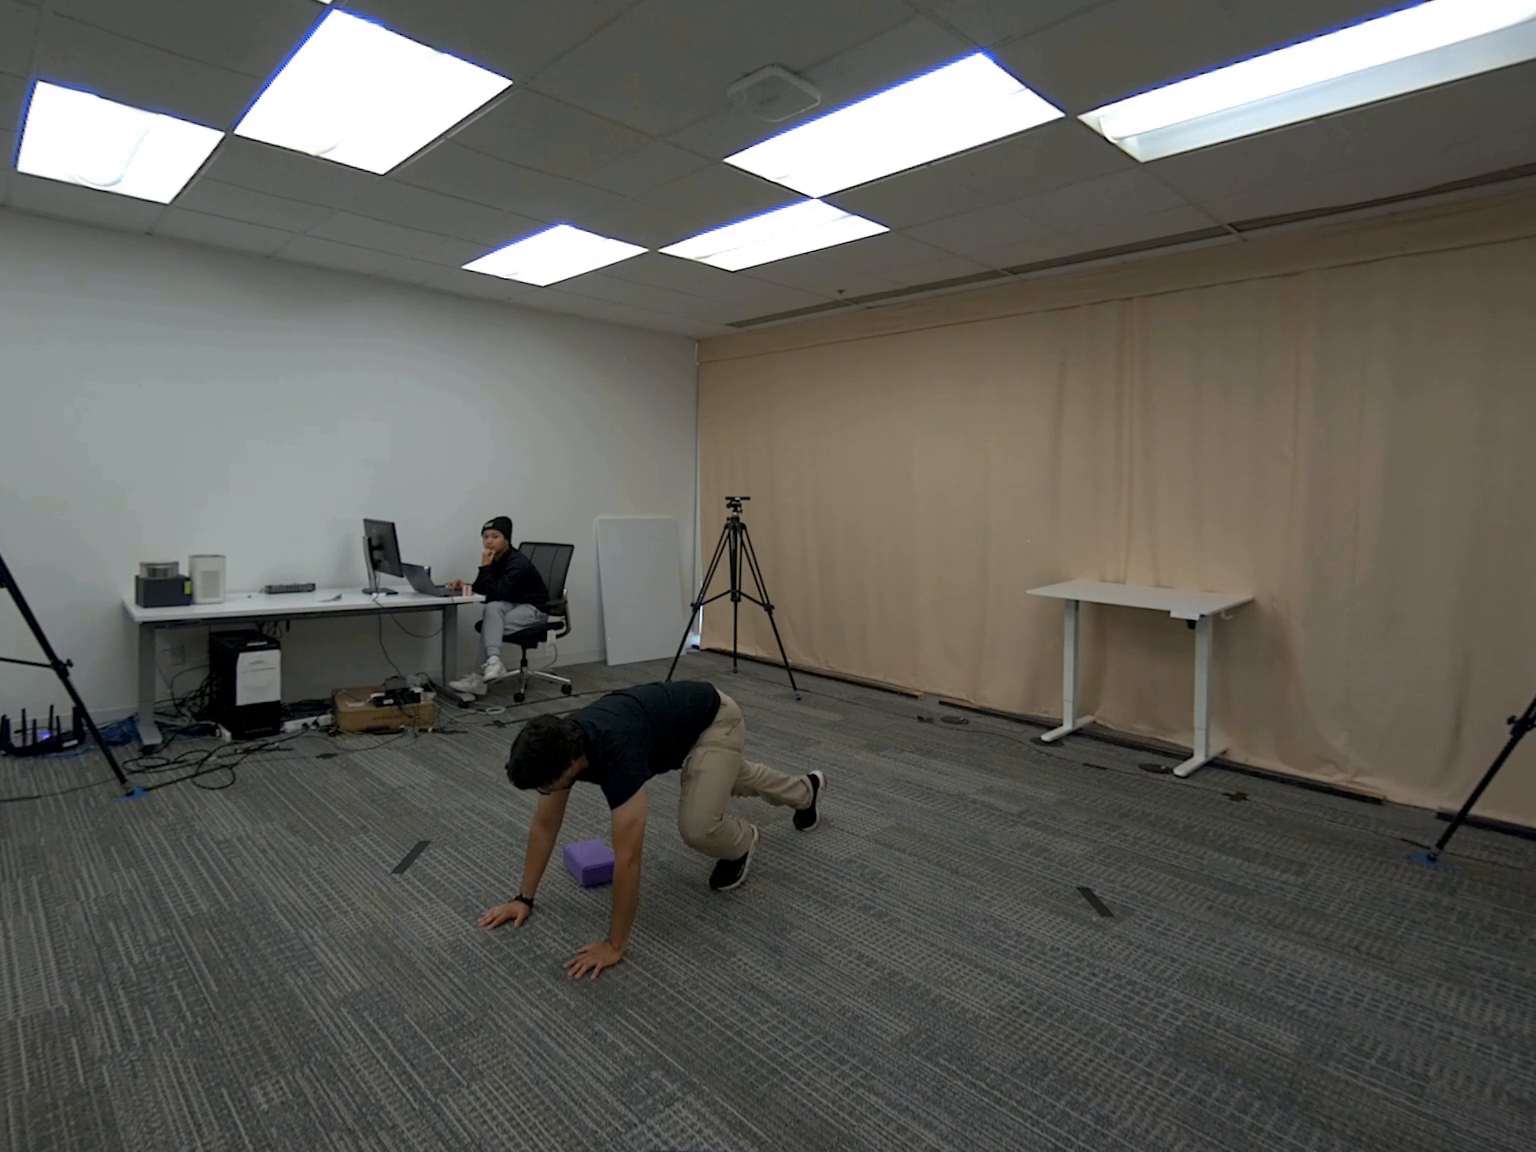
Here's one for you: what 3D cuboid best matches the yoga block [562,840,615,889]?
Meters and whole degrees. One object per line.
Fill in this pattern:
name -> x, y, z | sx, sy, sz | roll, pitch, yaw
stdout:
yoga block -> -0.660, 1.053, 3.106 | 0.146, 0.076, 0.234 | -2, 5, -30
